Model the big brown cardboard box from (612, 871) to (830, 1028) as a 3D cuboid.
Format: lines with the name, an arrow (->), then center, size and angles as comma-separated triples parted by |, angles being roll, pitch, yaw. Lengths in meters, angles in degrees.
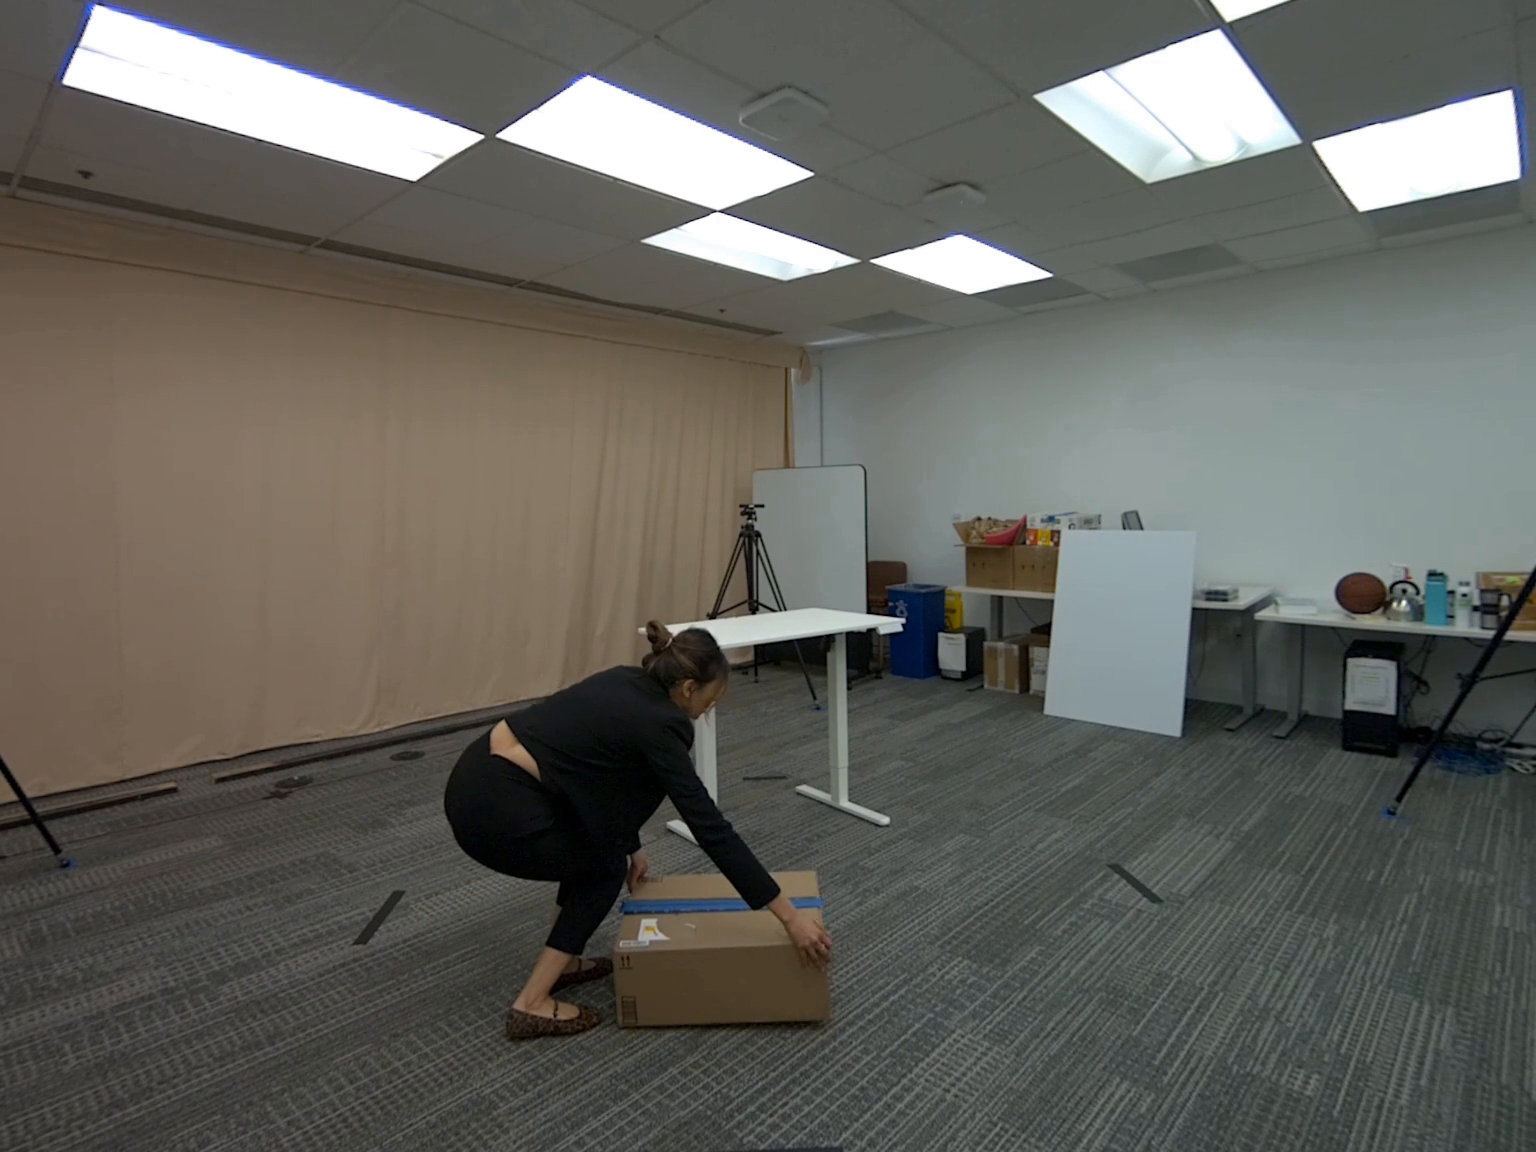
big brown cardboard box -> -0.119, 1.044, 2.422 | 0.590, 0.232, 0.419 | -3, 6, 1
